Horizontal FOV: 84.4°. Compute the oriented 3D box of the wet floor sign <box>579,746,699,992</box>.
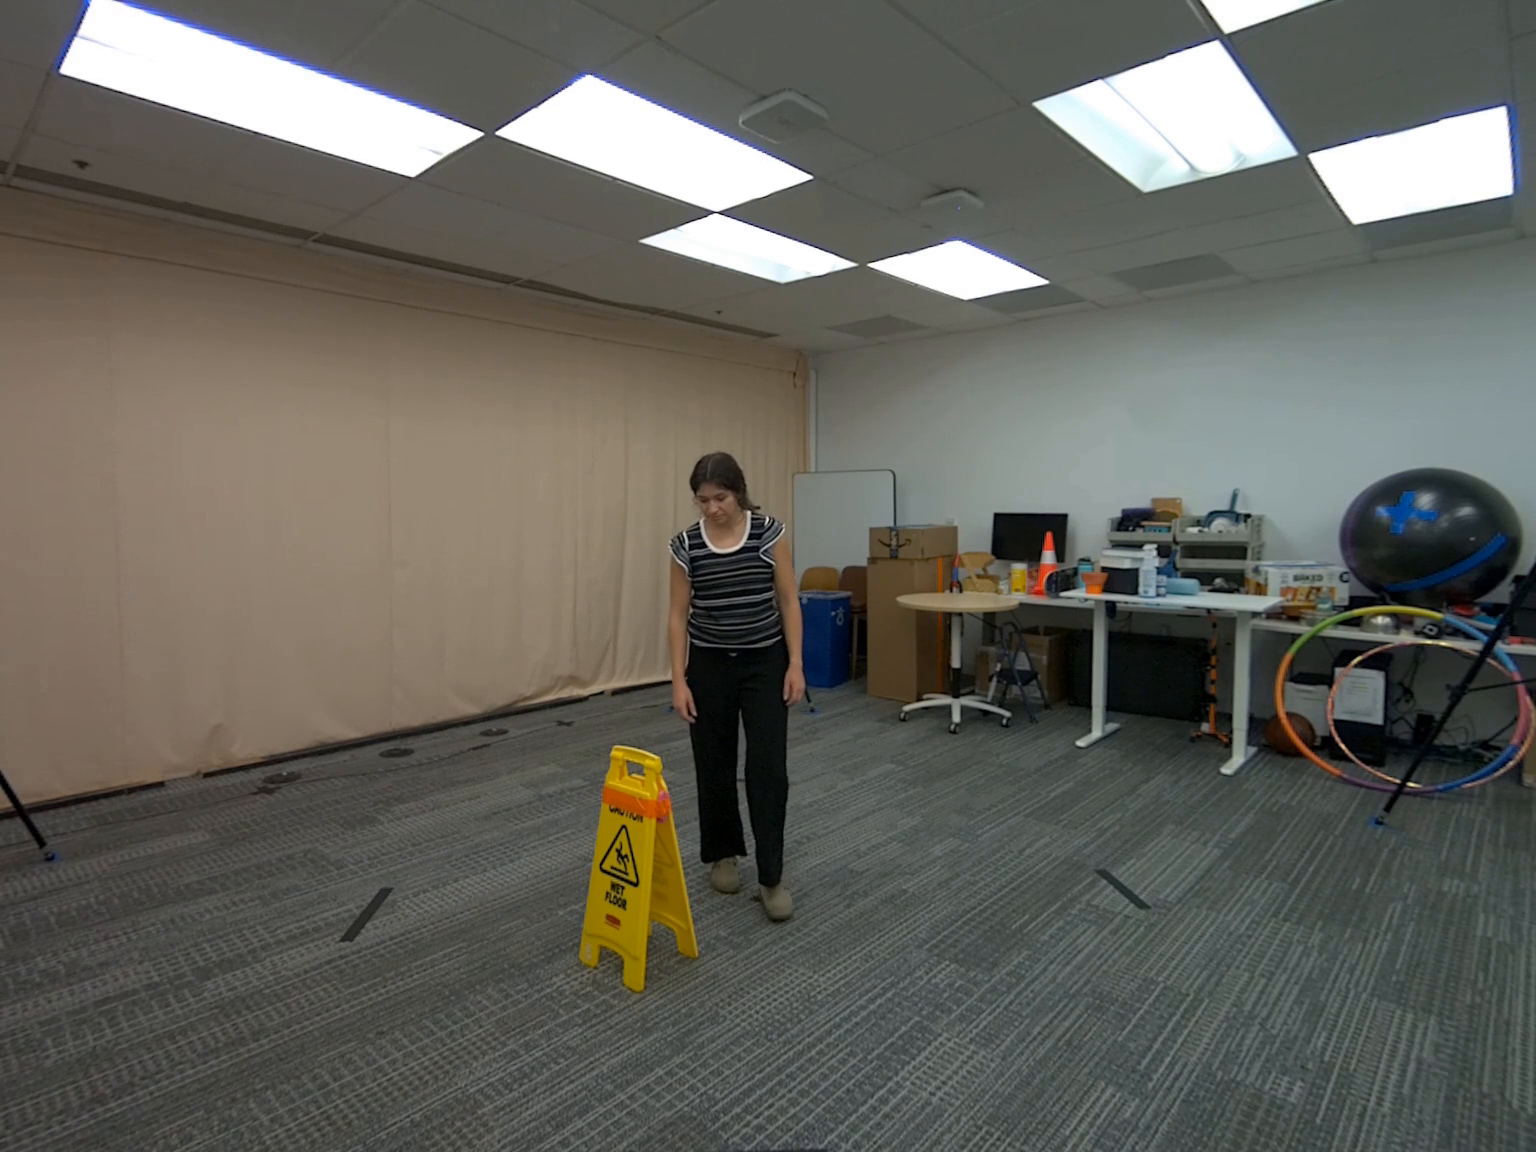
[{"bbox_3d":[-0.400,0.856,2.569,0.291,0.644,0.281,2,5,39],"label":"wet floor sign"}]
